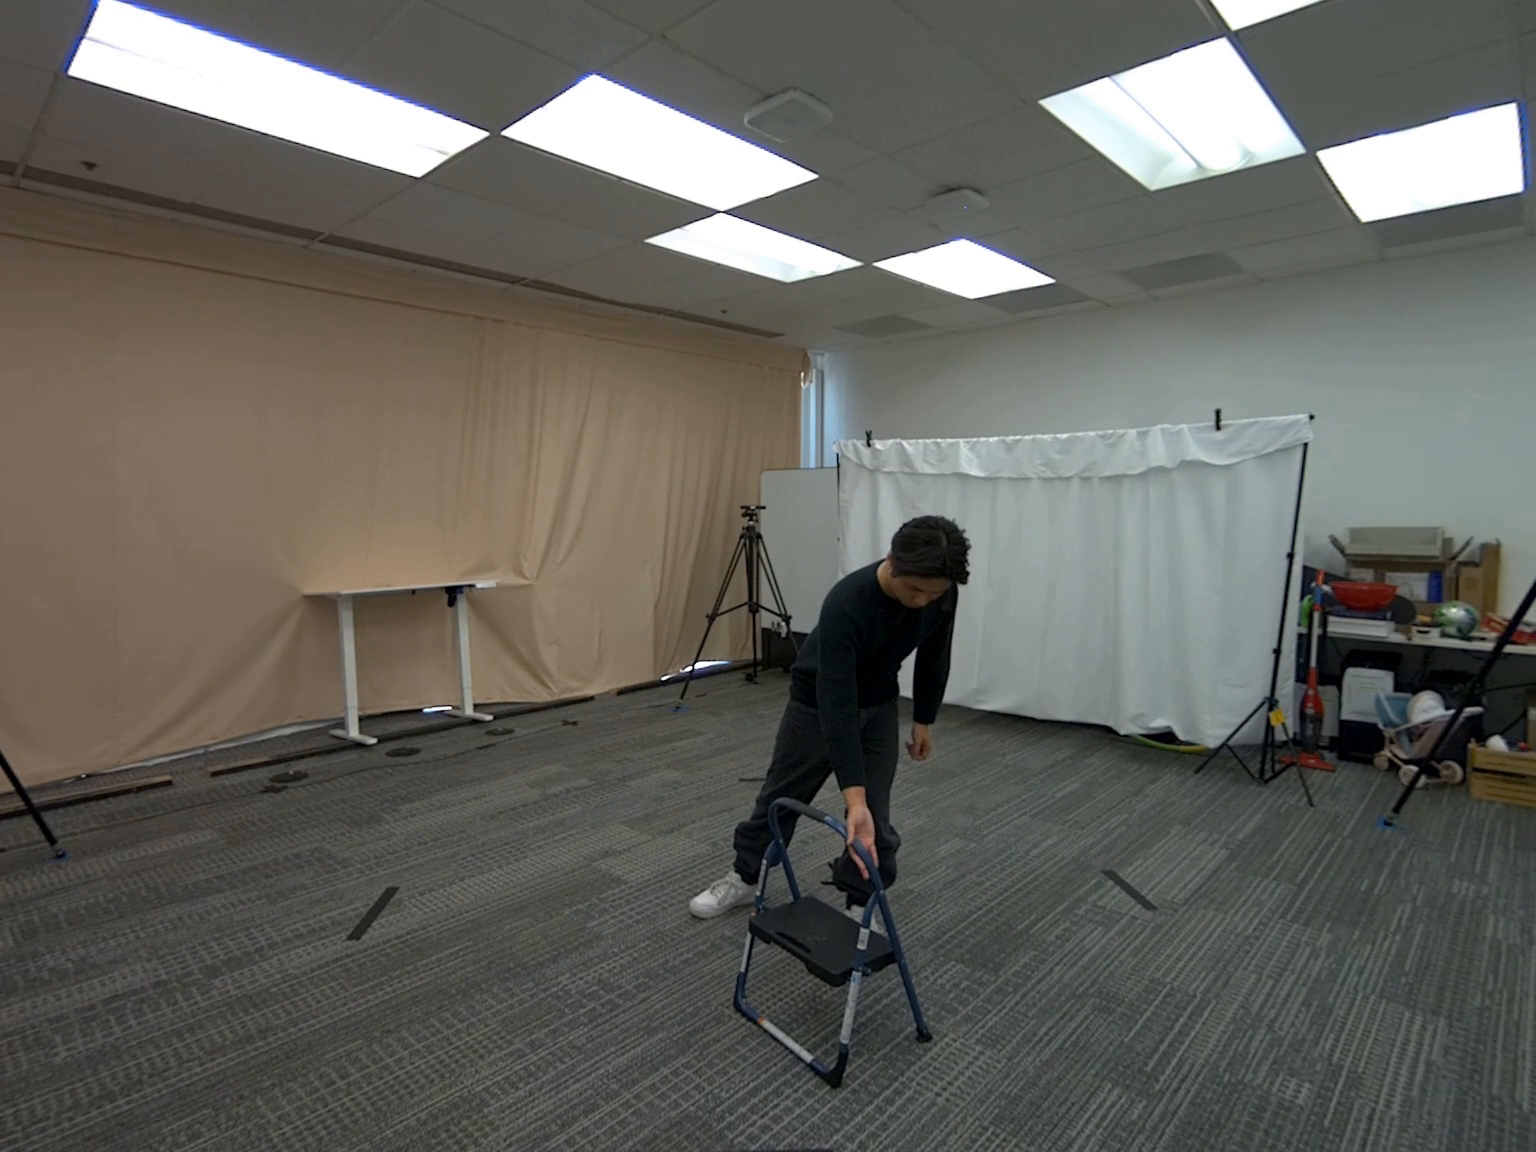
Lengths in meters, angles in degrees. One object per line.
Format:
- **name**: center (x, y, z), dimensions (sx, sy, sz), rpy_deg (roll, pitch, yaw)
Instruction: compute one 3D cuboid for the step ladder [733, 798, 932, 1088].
- **step ladder**: center (0.164, 0.901, 2.255), dimensions (0.339, 0.605, 0.445), rpy_deg (-2, 4, -38)
